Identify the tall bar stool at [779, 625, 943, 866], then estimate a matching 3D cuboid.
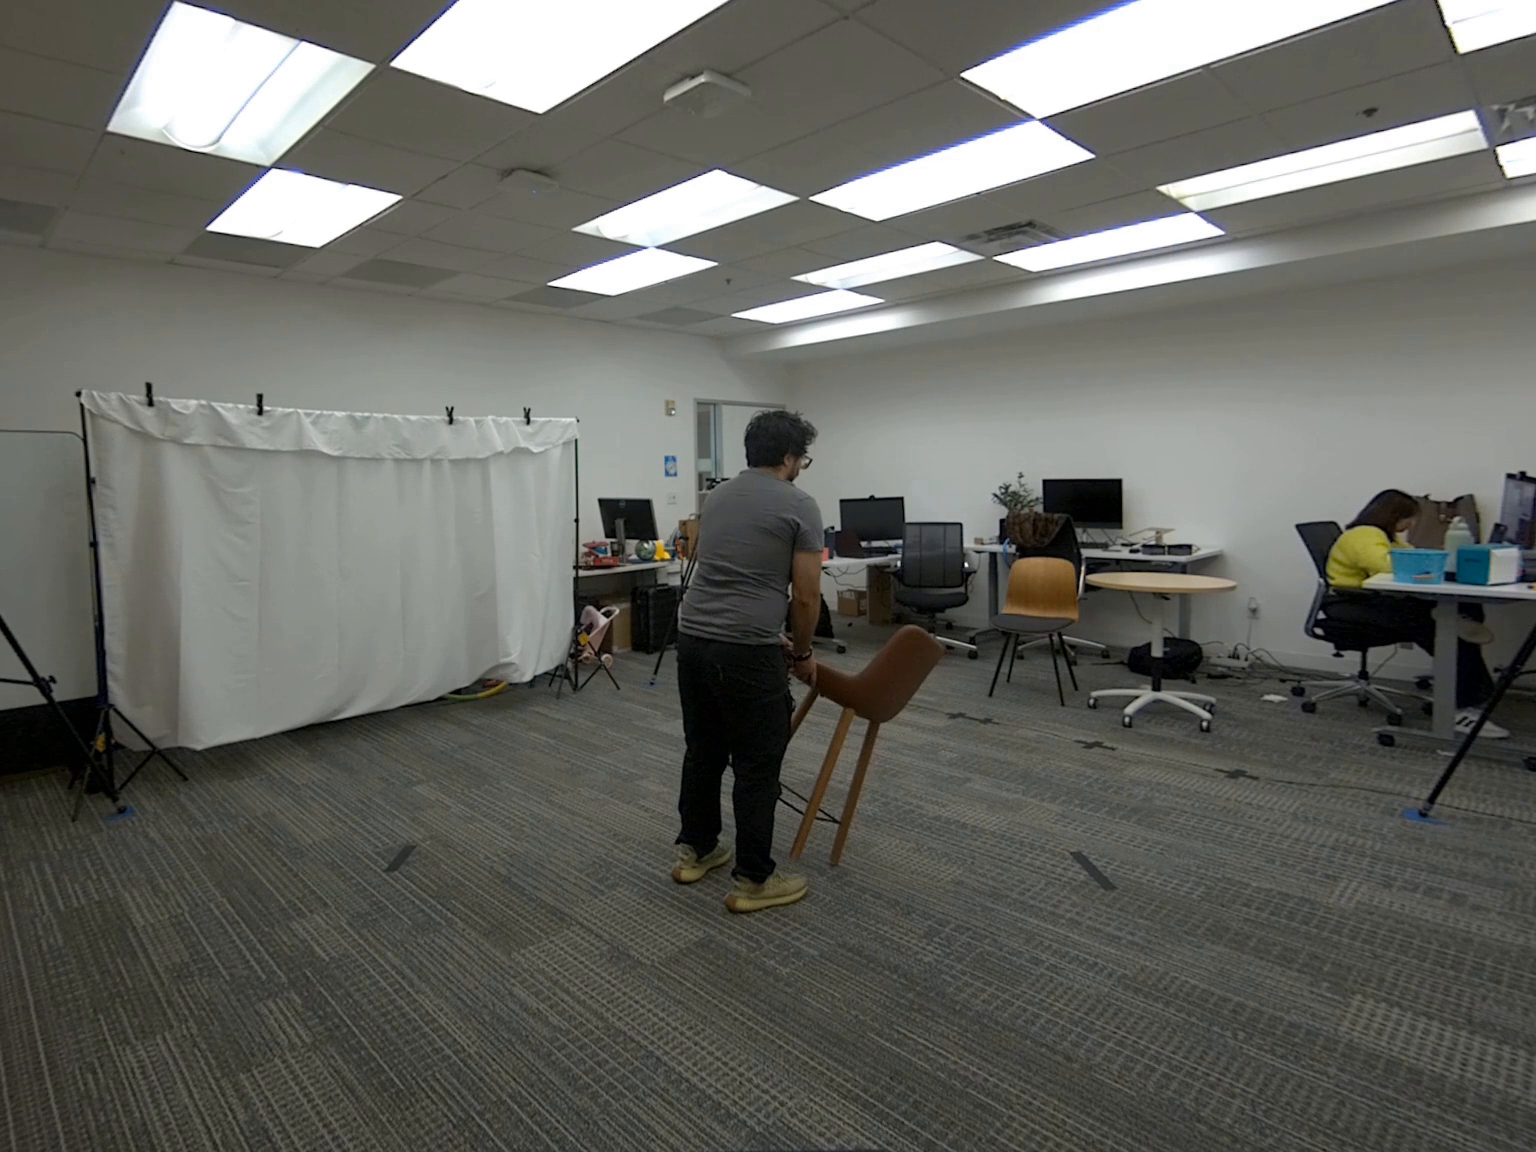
[{"bbox_3d":[0.208,0.526,3.110,0.485,0.891,0.439,26,-6,35],"label":"tall bar stool"}]
